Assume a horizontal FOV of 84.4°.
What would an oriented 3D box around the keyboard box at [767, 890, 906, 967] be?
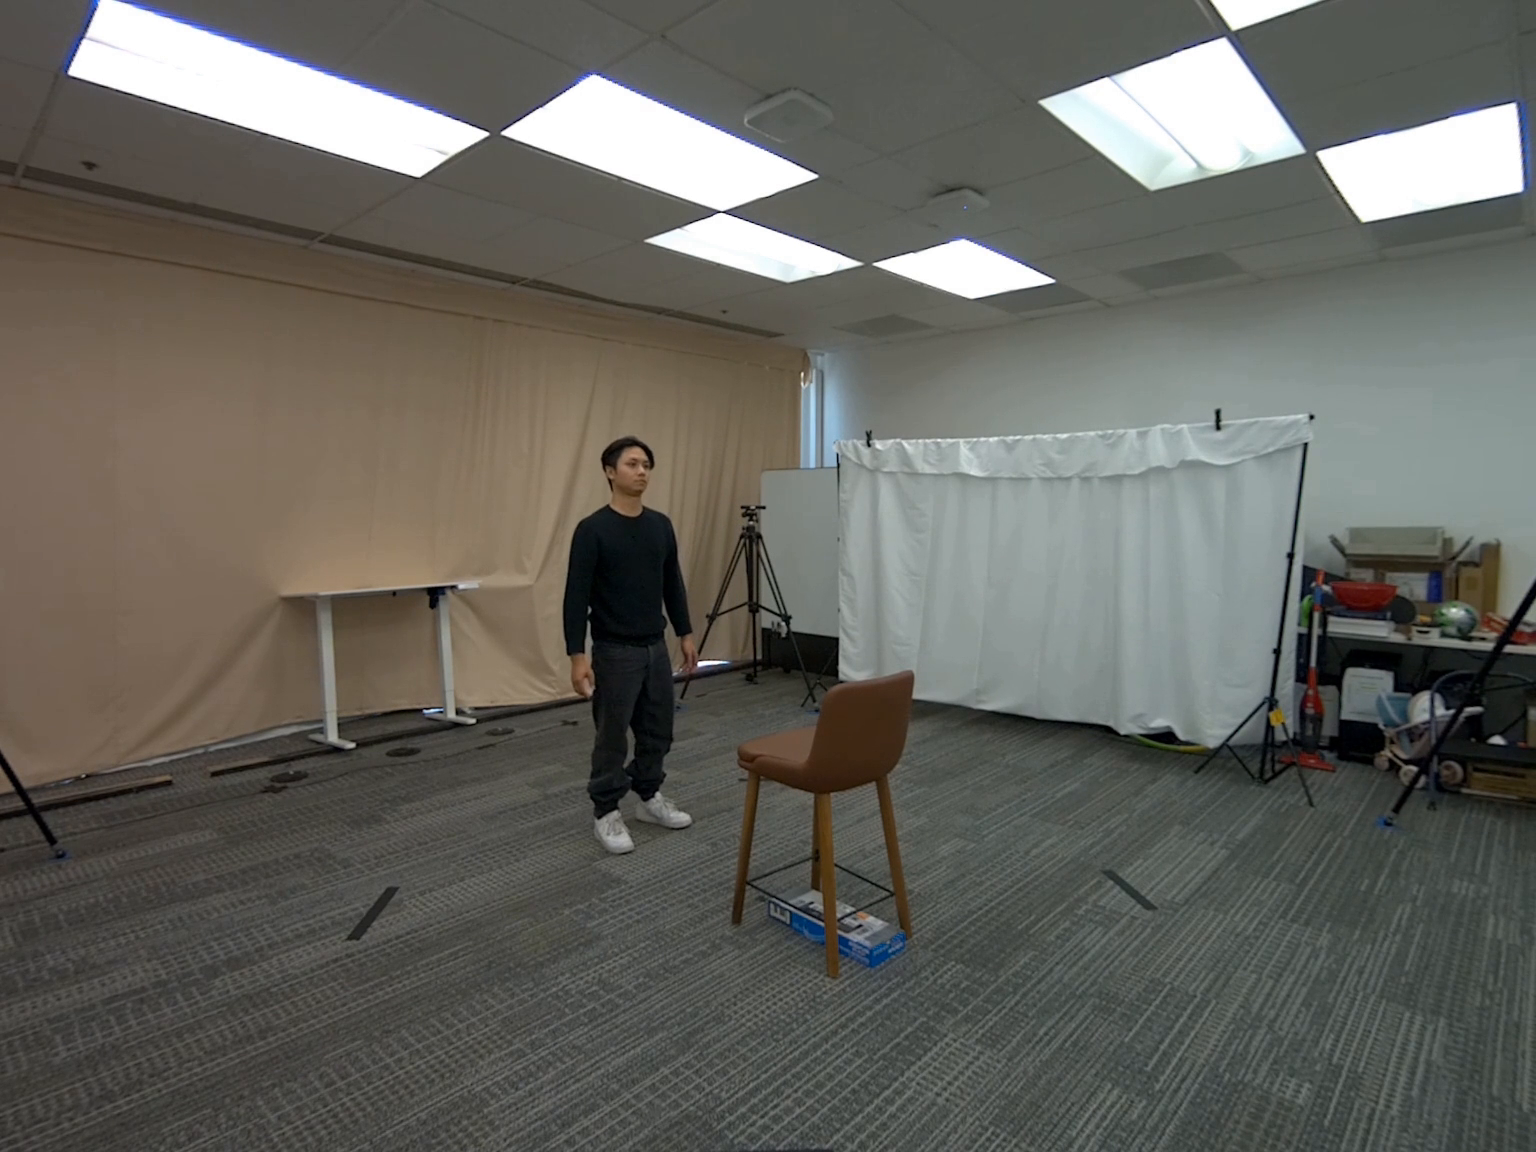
[{"bbox_3d":[0.222,1.135,2.749,0.170,0.059,0.451,-4,6,-43],"label":"keyboard box"}]
